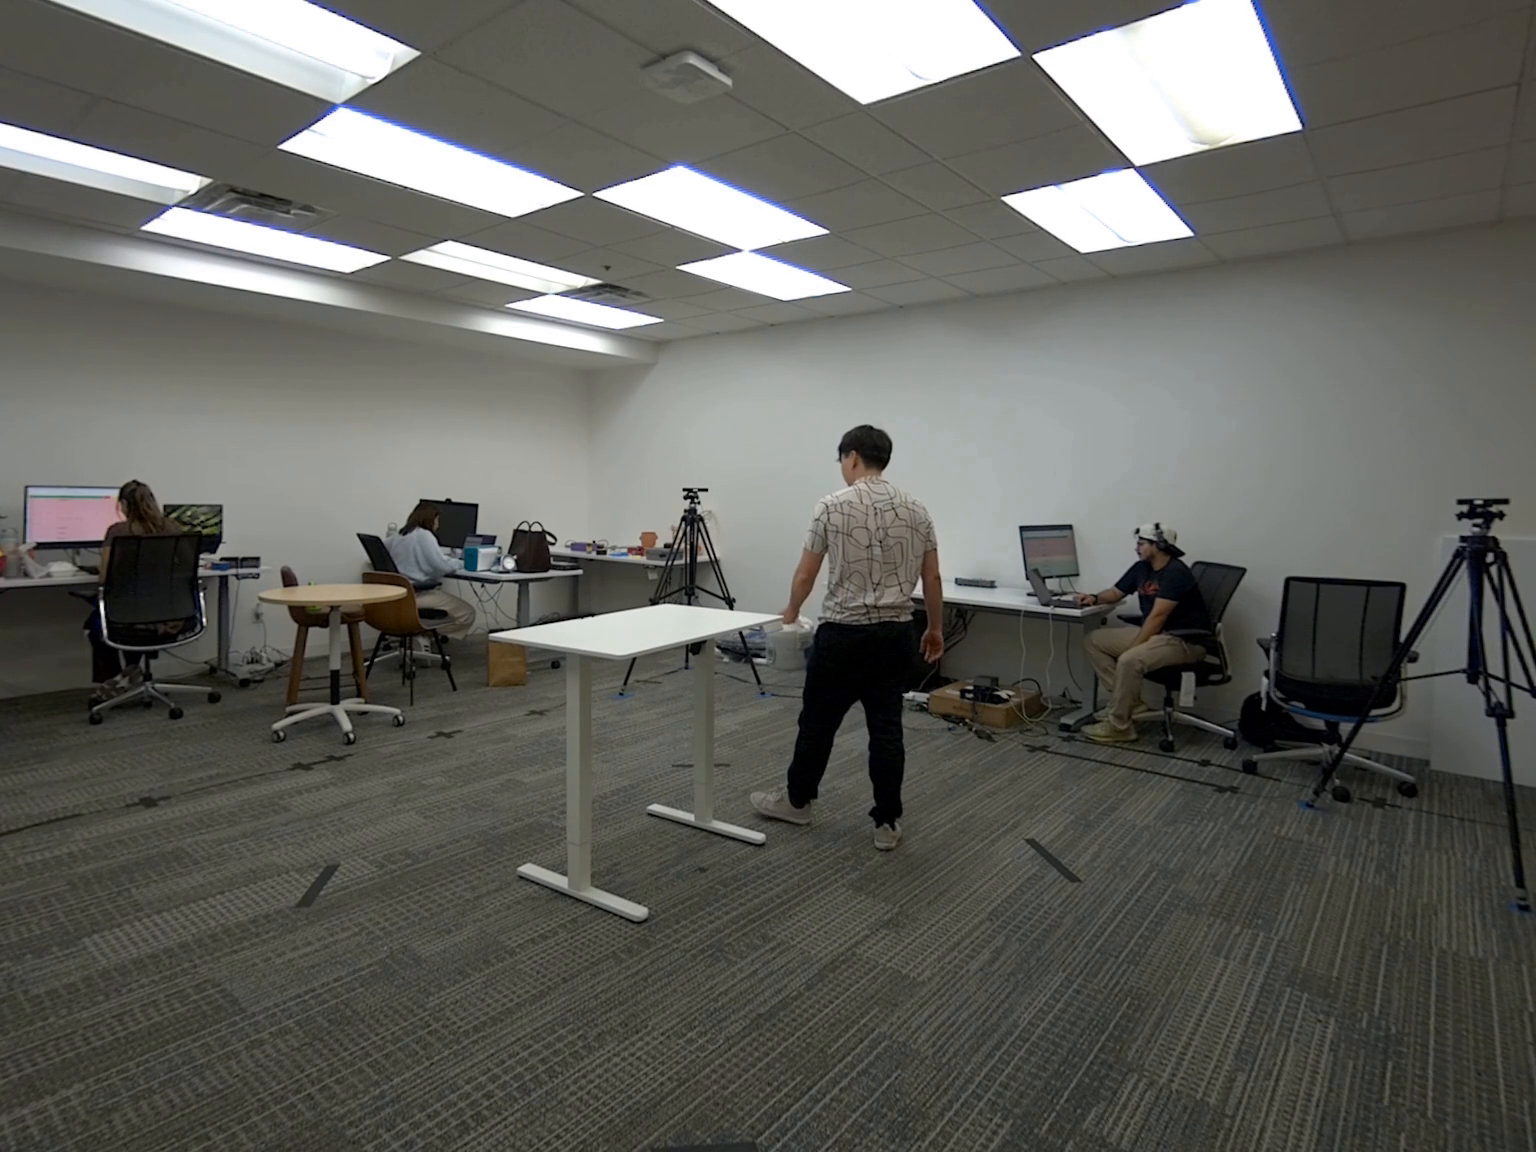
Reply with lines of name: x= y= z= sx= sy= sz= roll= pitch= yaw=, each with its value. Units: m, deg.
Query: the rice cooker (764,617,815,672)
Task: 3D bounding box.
rice cooker: x=0.087 y=0.277 z=3.668 sx=0.212 sy=0.230 sz=0.229 roll=-9 pitch=14 yaw=-34
